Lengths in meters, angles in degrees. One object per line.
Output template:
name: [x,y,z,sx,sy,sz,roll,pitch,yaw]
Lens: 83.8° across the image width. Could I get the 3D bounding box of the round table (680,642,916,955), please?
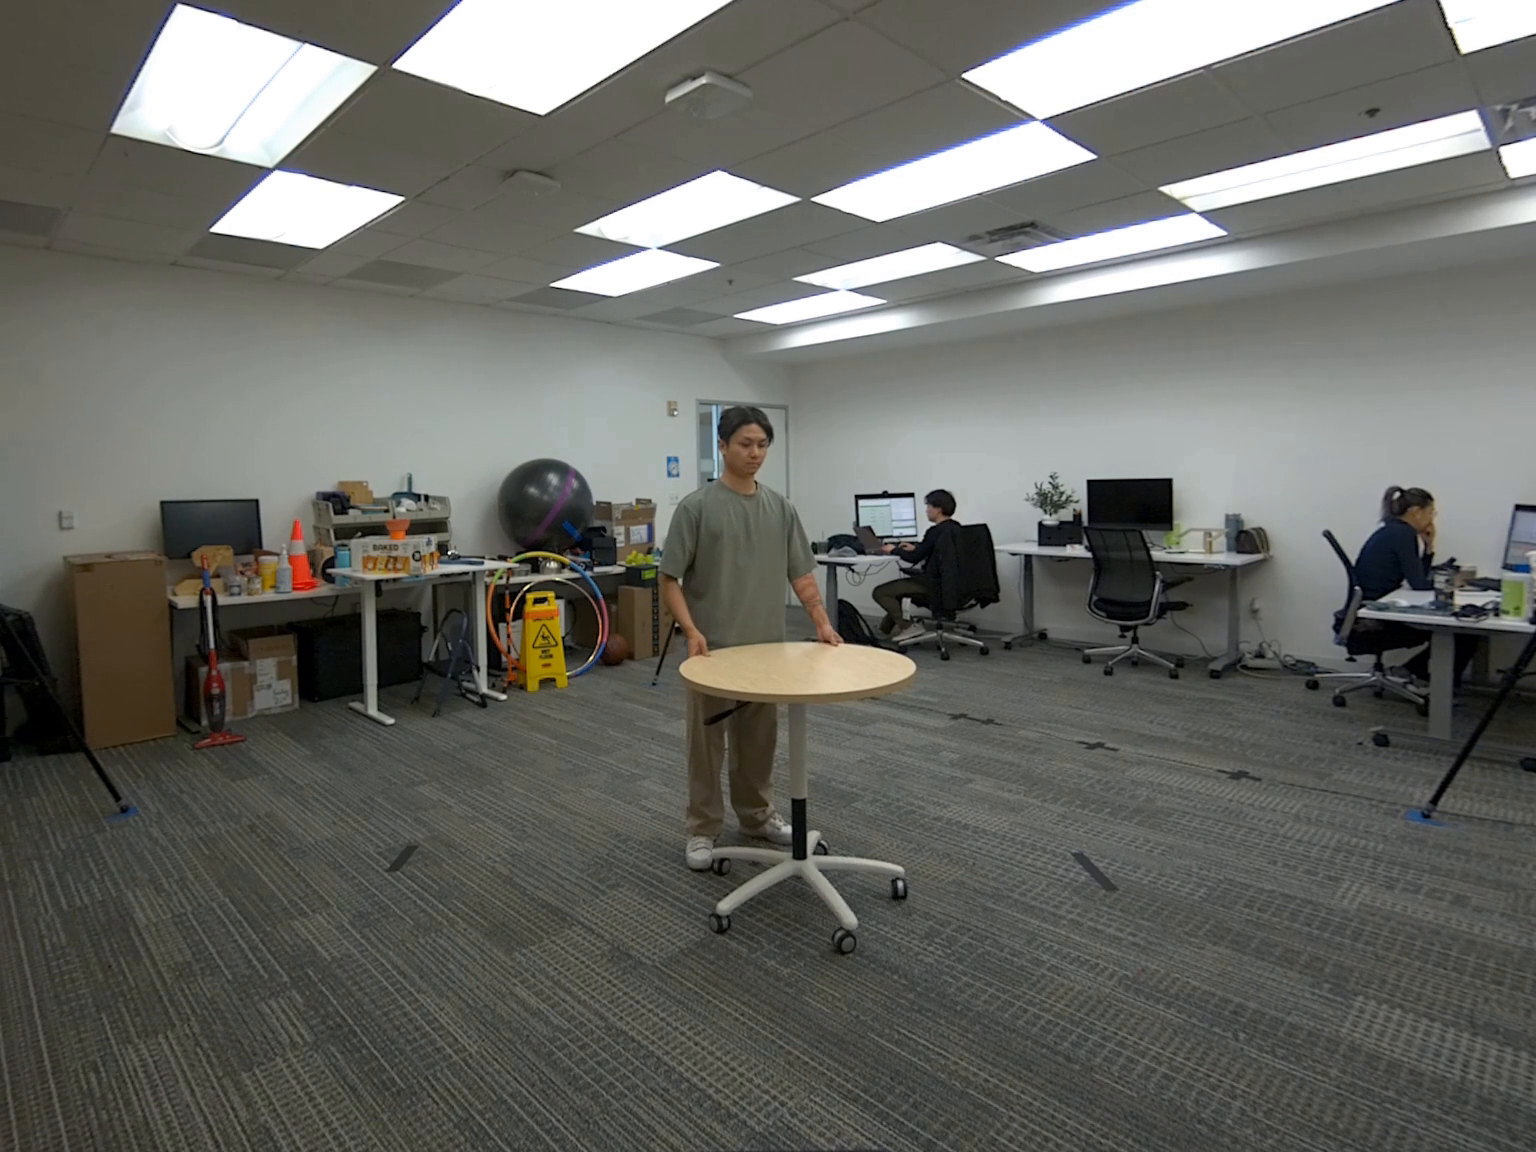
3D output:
round table: [0.116,0.682,2.810,0.784,0.783,0.789,-2,5,-2]
